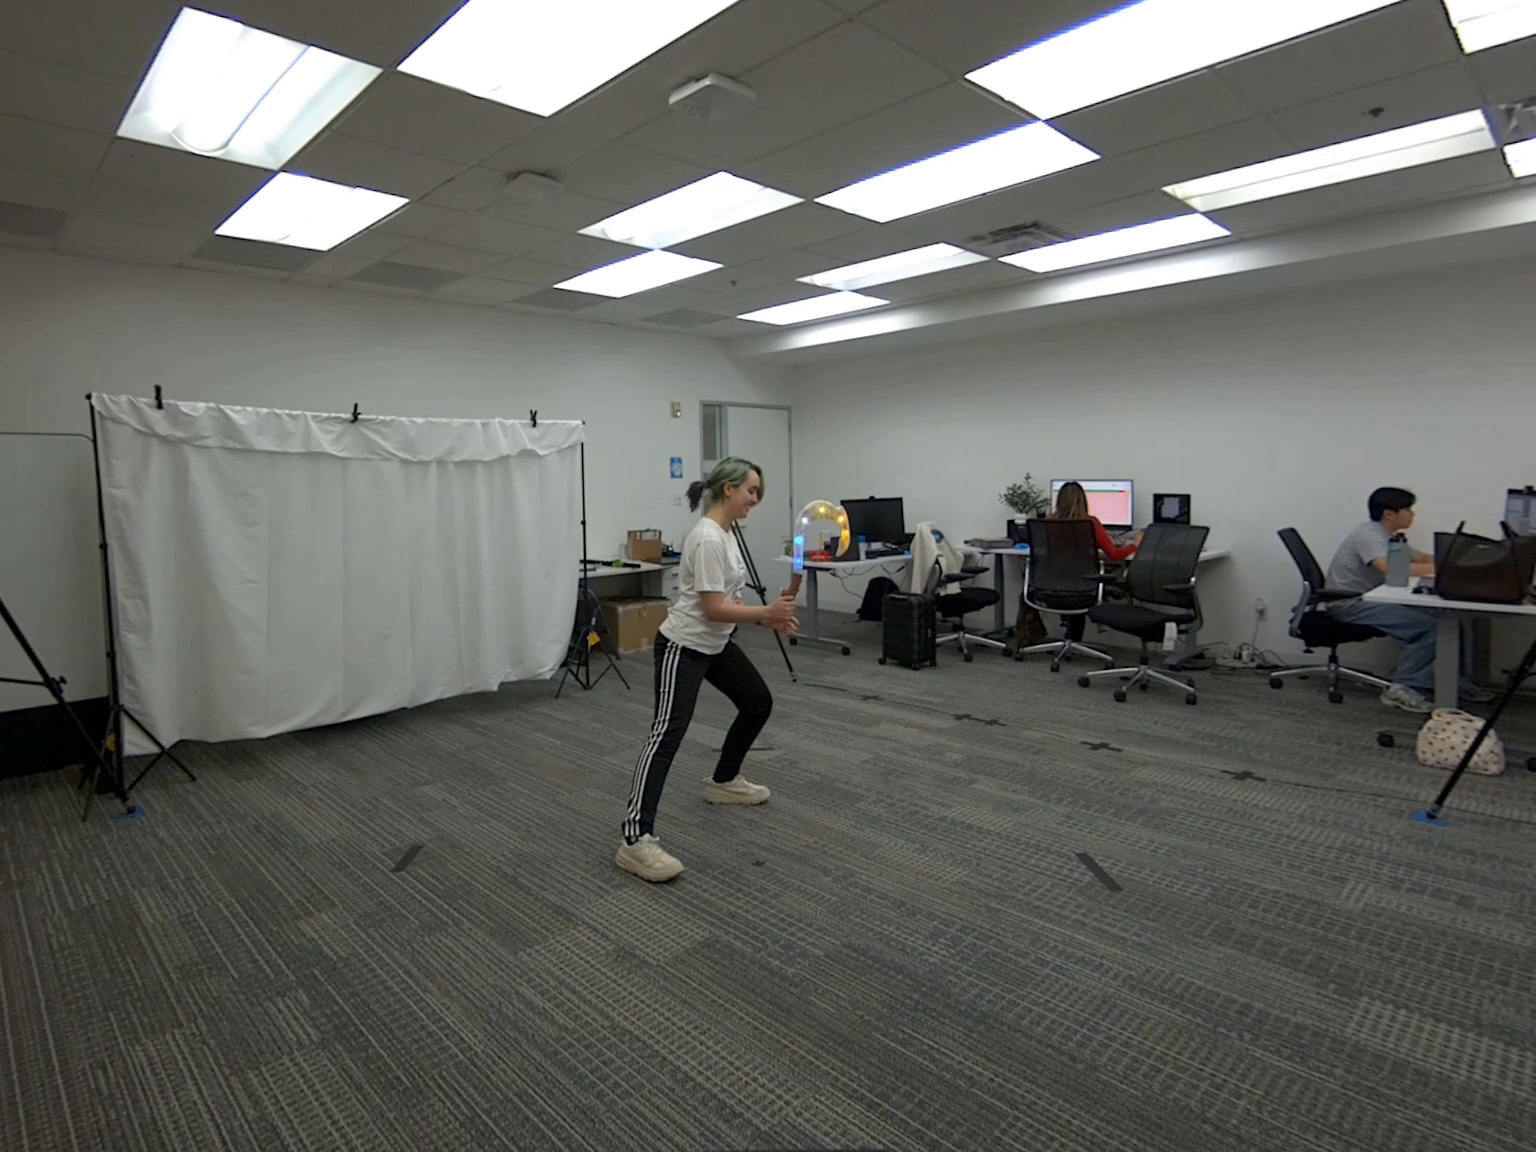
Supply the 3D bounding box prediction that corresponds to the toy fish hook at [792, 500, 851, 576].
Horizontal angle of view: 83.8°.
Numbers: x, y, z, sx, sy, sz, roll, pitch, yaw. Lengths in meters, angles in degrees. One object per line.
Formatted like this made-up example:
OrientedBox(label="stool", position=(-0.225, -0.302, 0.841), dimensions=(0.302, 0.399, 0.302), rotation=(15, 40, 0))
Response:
OrientedBox(label="toy fish hook", position=(0.179, -0.054, 3.417), dimensions=(0.227, 0.505, 0.048), rotation=(20, 3, 9))
